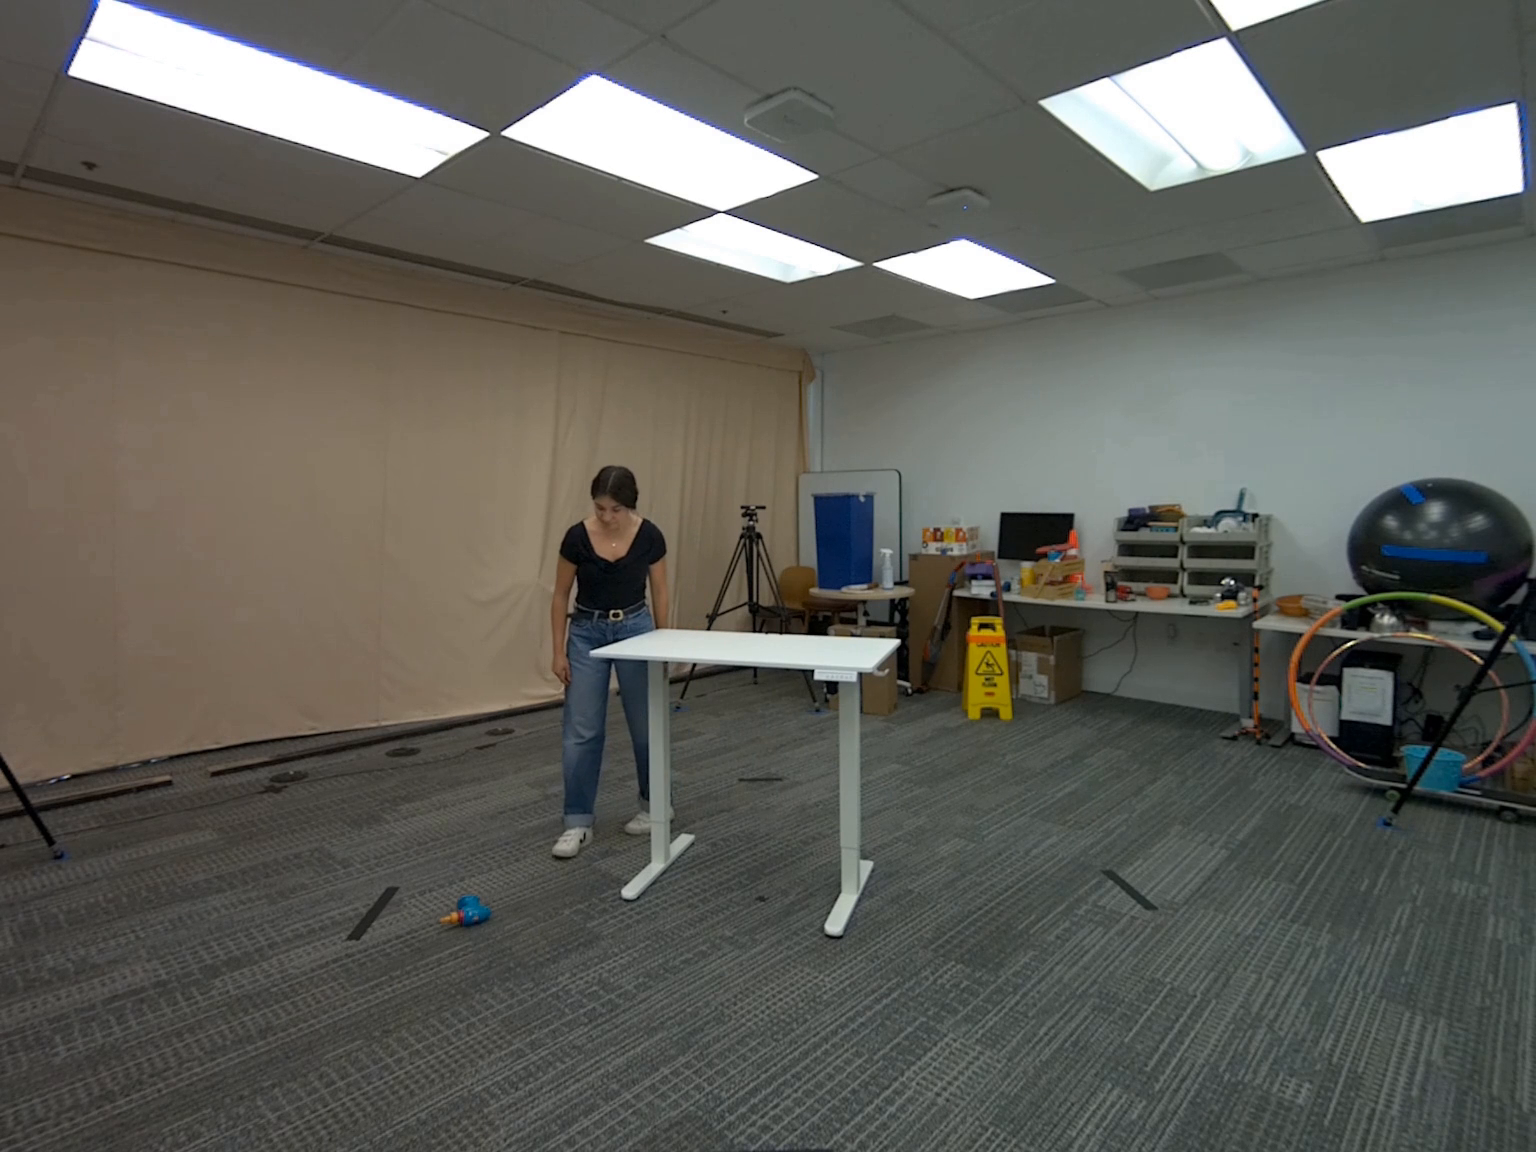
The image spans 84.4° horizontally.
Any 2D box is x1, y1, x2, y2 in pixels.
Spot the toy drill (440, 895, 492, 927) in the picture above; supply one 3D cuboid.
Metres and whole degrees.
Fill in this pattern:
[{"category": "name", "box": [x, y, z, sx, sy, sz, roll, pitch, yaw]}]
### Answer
[{"category": "toy drill", "box": [-1.030, 1.130, 2.847, 0.165, 0.061, 0.150, 0, 3, -34]}]
